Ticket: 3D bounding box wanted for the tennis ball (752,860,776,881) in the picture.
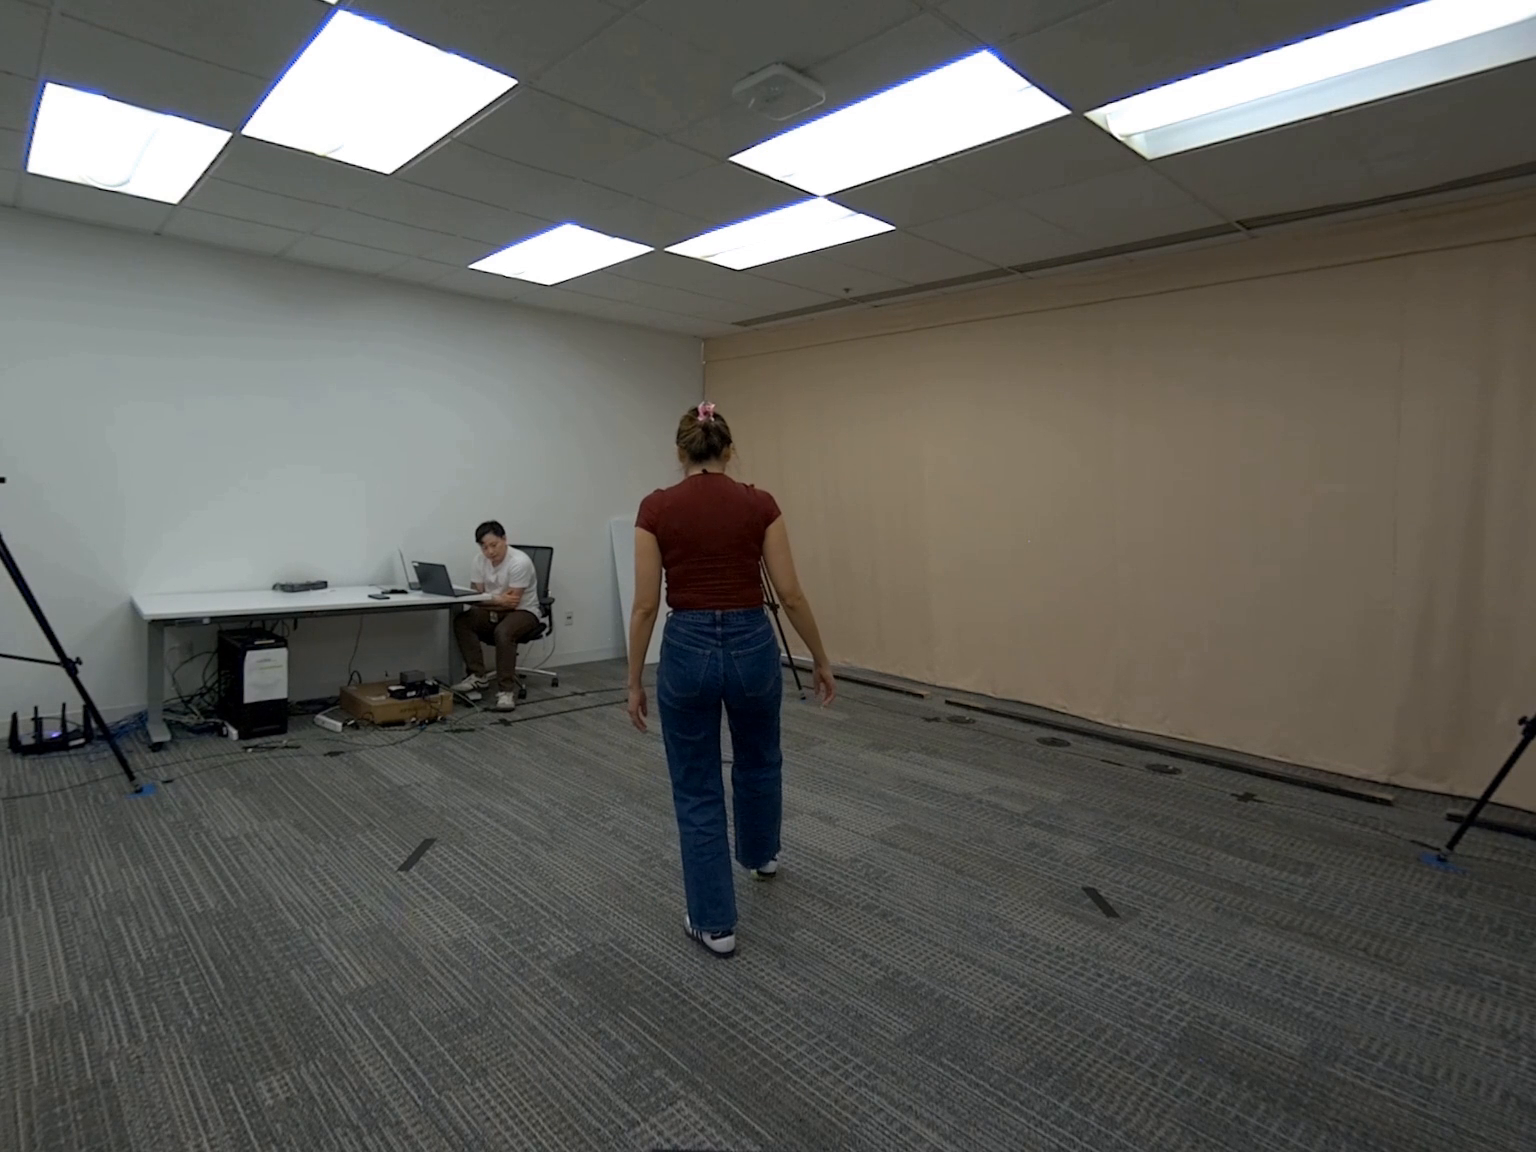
[{"bbox_3d":[-0.037,1.064,3.080,0.066,0.066,0.067,1,4,-1],"label":"tennis ball"}]
